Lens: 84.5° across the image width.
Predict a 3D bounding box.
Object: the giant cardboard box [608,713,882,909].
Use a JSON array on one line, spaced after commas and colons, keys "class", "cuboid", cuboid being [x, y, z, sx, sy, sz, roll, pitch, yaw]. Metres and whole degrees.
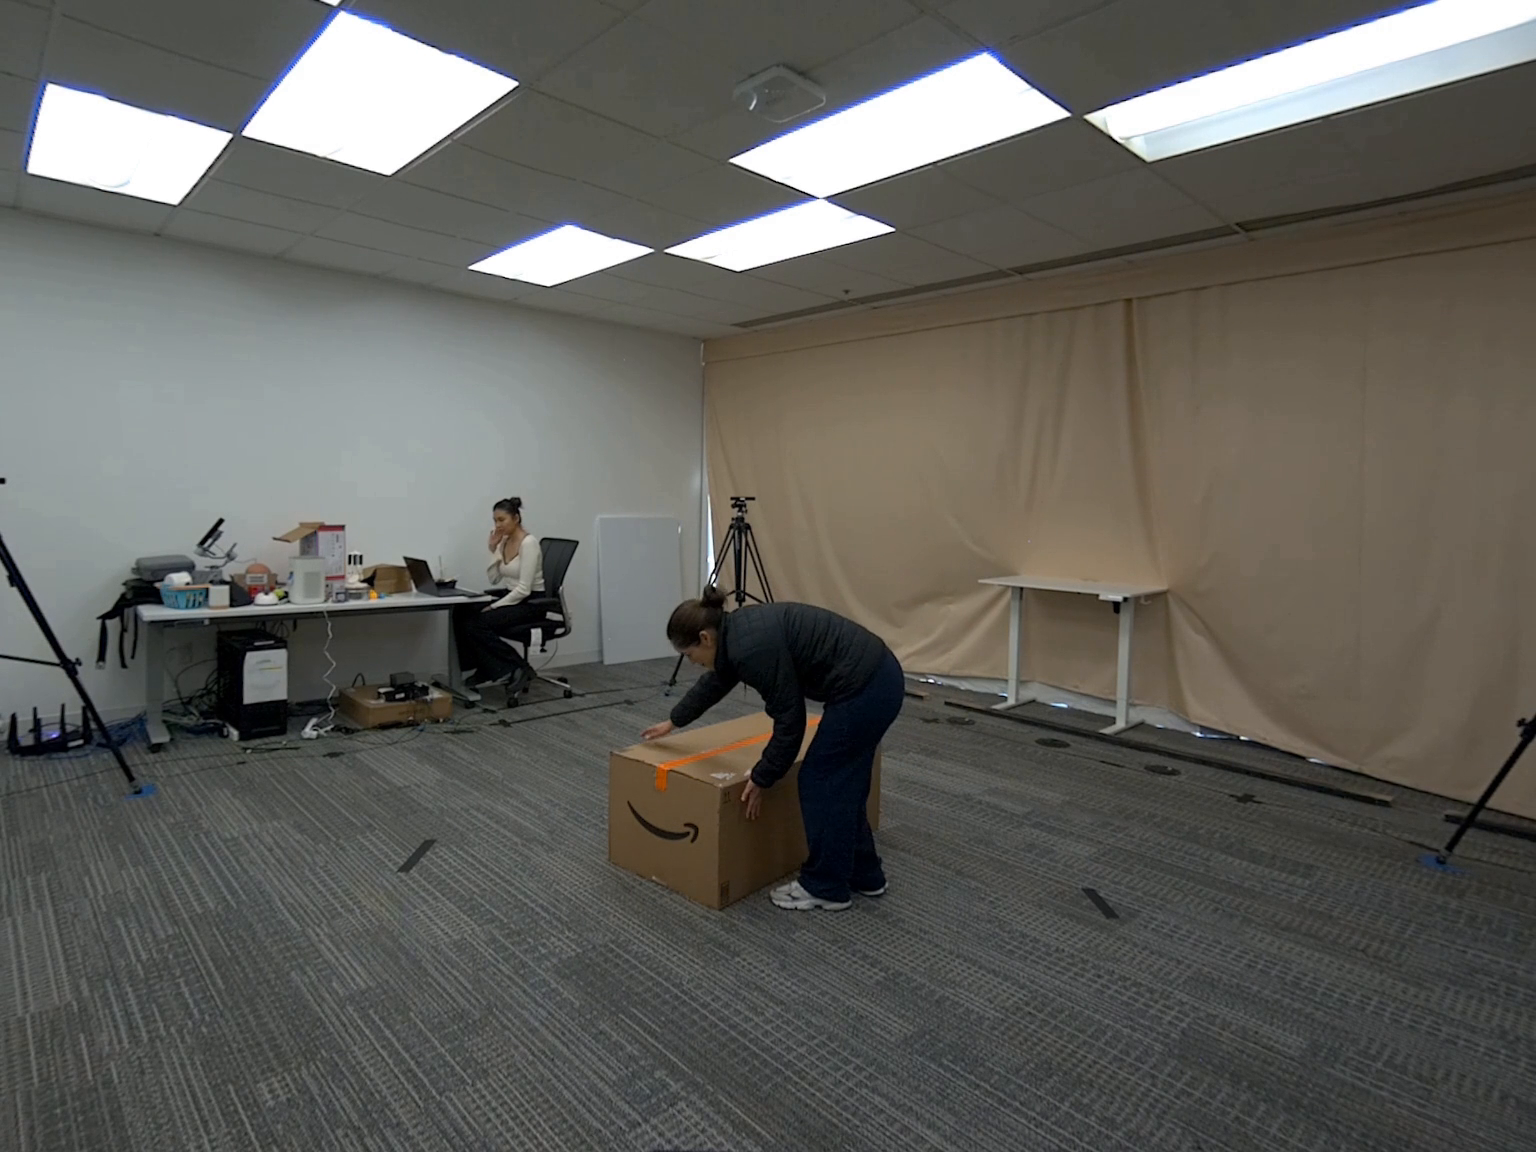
[{"class": "giant cardboard box", "cuboid": [-0.069, 0.870, 3.384, 0.592, 0.425, 1.003, 6, 6, 39]}]
